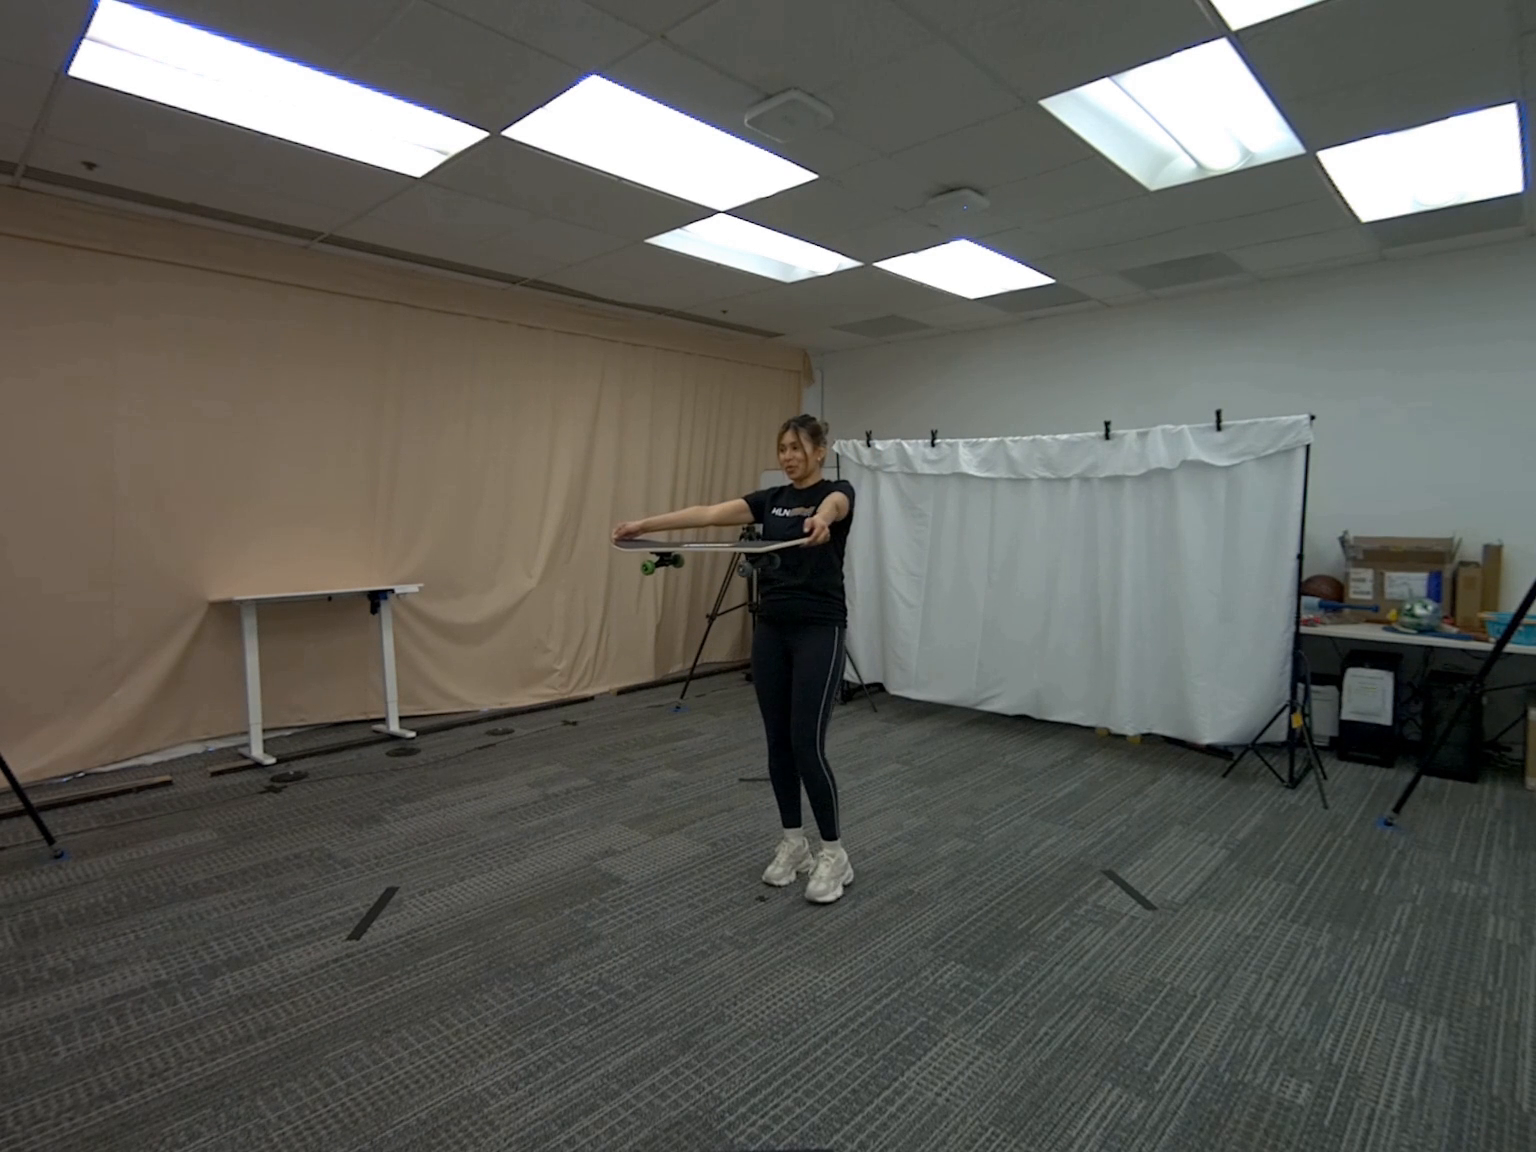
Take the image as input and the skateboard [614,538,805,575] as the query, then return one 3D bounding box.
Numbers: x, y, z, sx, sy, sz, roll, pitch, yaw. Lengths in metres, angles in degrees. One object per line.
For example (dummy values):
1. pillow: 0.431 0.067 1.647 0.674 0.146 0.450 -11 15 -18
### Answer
1. skateboard: -0.186 -0.066 2.723 0.810 0.110 0.188 1 10 36
